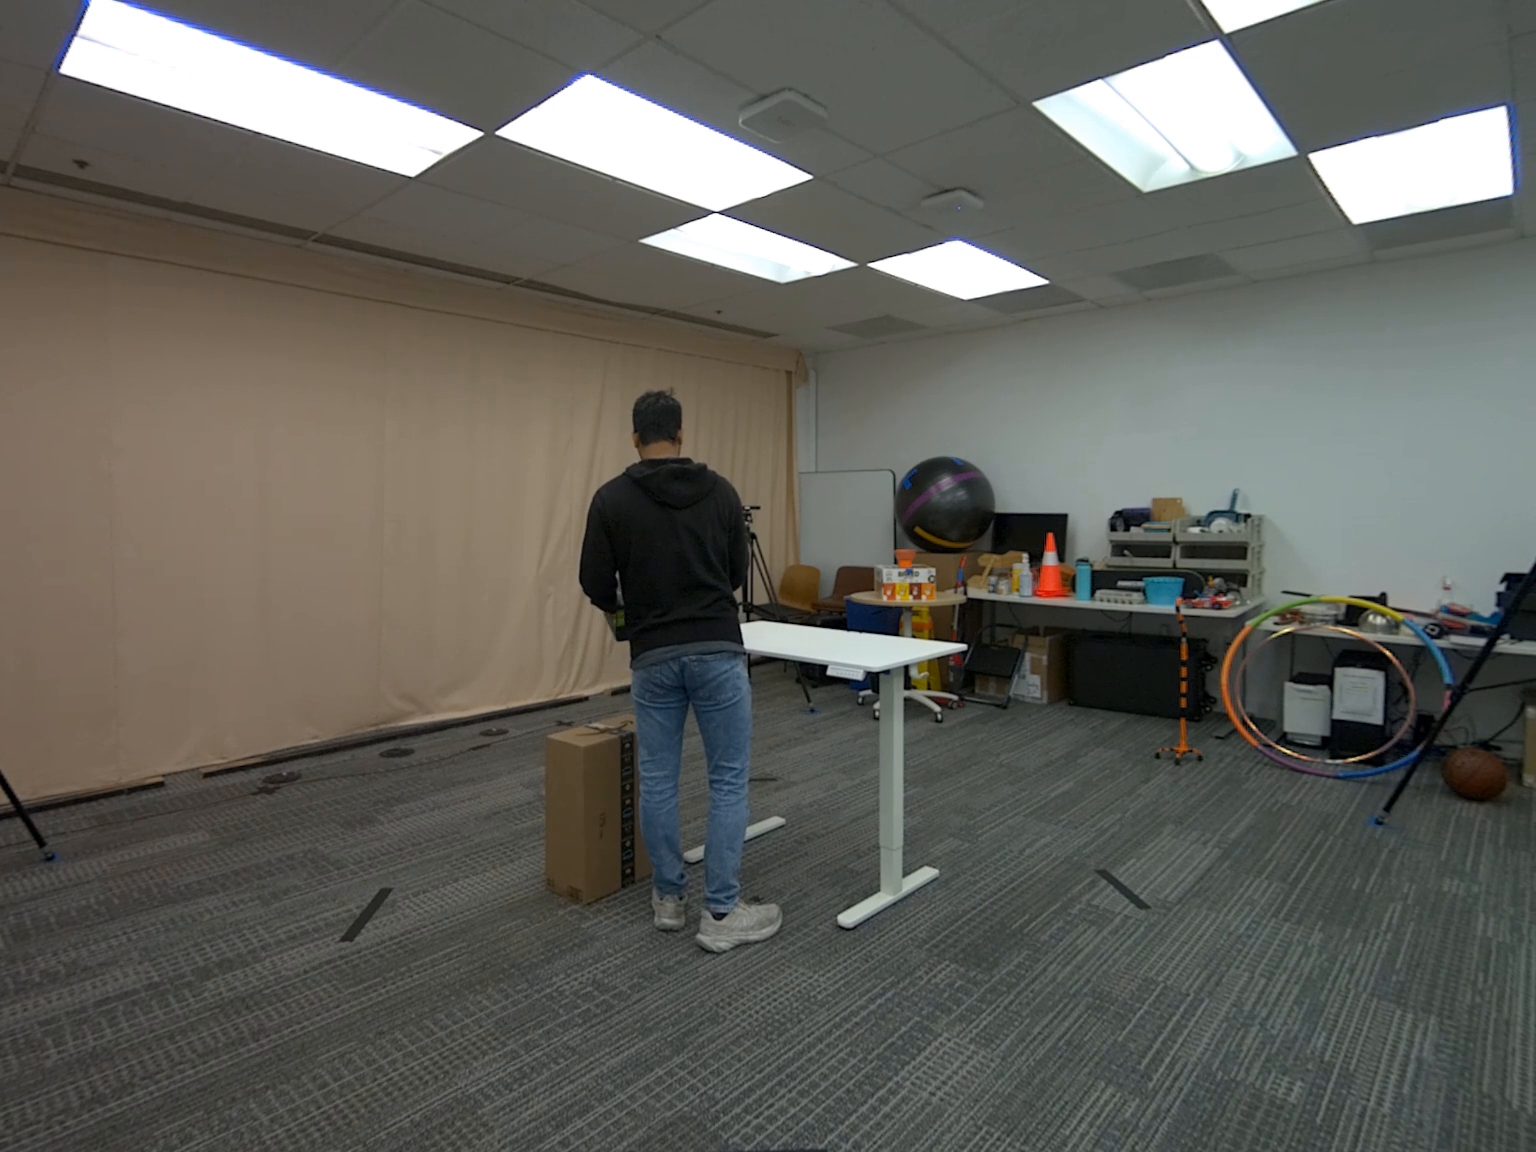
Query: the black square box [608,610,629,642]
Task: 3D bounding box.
[{"bbox_3d":[-0.488,0.130,3.253,0.223,0.154,0.224,-7,27,-21],"label":"black square box"}]
